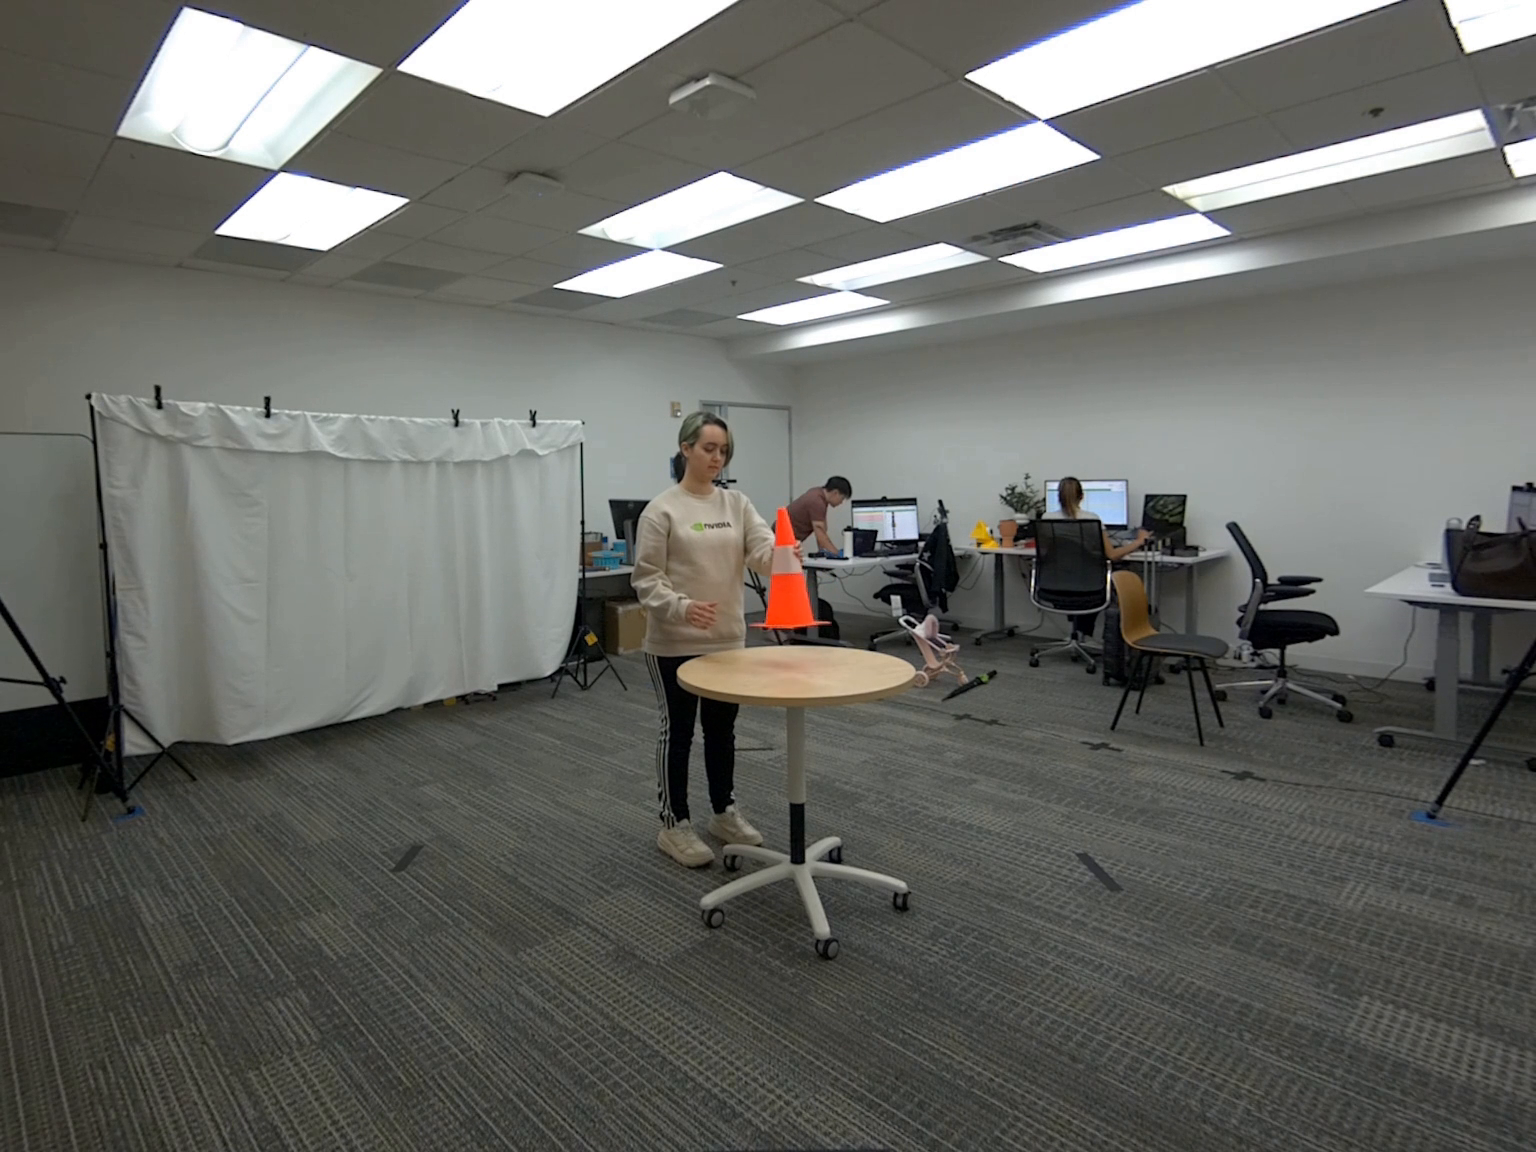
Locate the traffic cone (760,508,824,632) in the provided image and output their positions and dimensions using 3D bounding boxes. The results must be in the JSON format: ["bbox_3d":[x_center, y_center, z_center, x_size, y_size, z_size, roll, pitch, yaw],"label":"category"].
[{"bbox_3d":[0.060,-0.038,2.797,0.208,0.385,0.199,-7,-3,39],"label":"traffic cone"}]
